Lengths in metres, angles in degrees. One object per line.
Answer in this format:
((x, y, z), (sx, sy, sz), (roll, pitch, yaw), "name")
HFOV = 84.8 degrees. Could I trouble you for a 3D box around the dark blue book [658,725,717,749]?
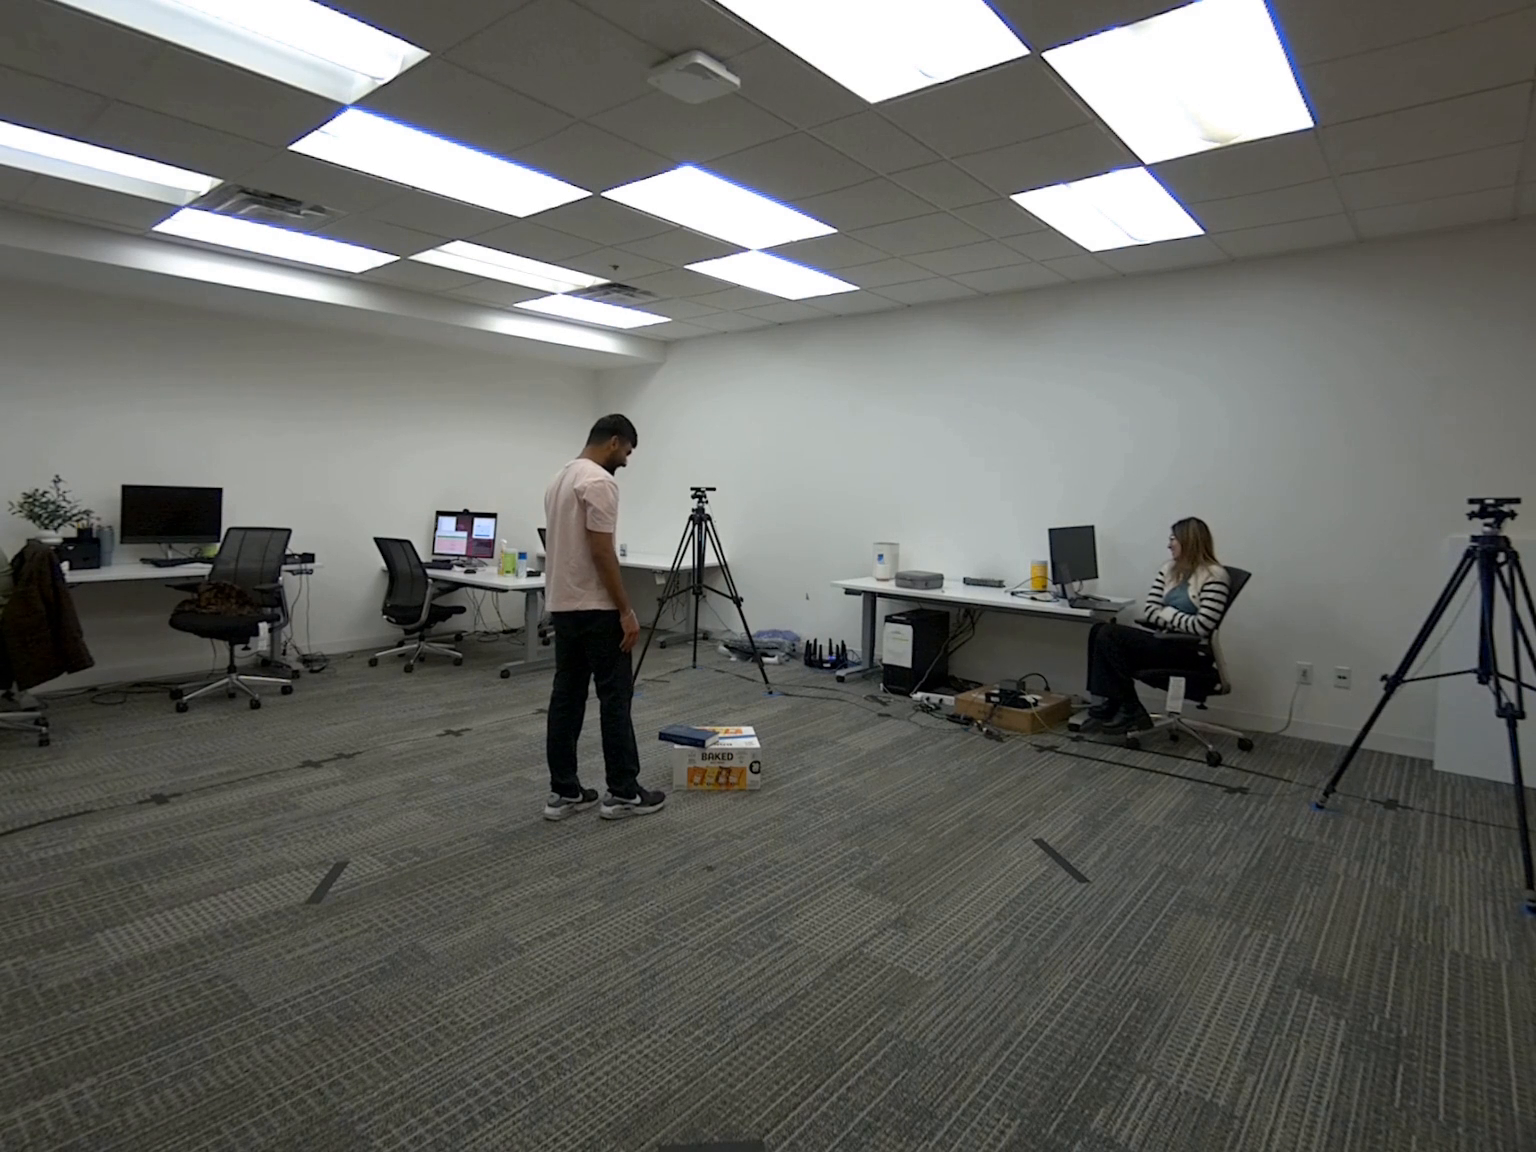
((-0.382, 0.751, 4.012), (0.251, 0.045, 0.160), (5, 4, 22), "dark blue book")
